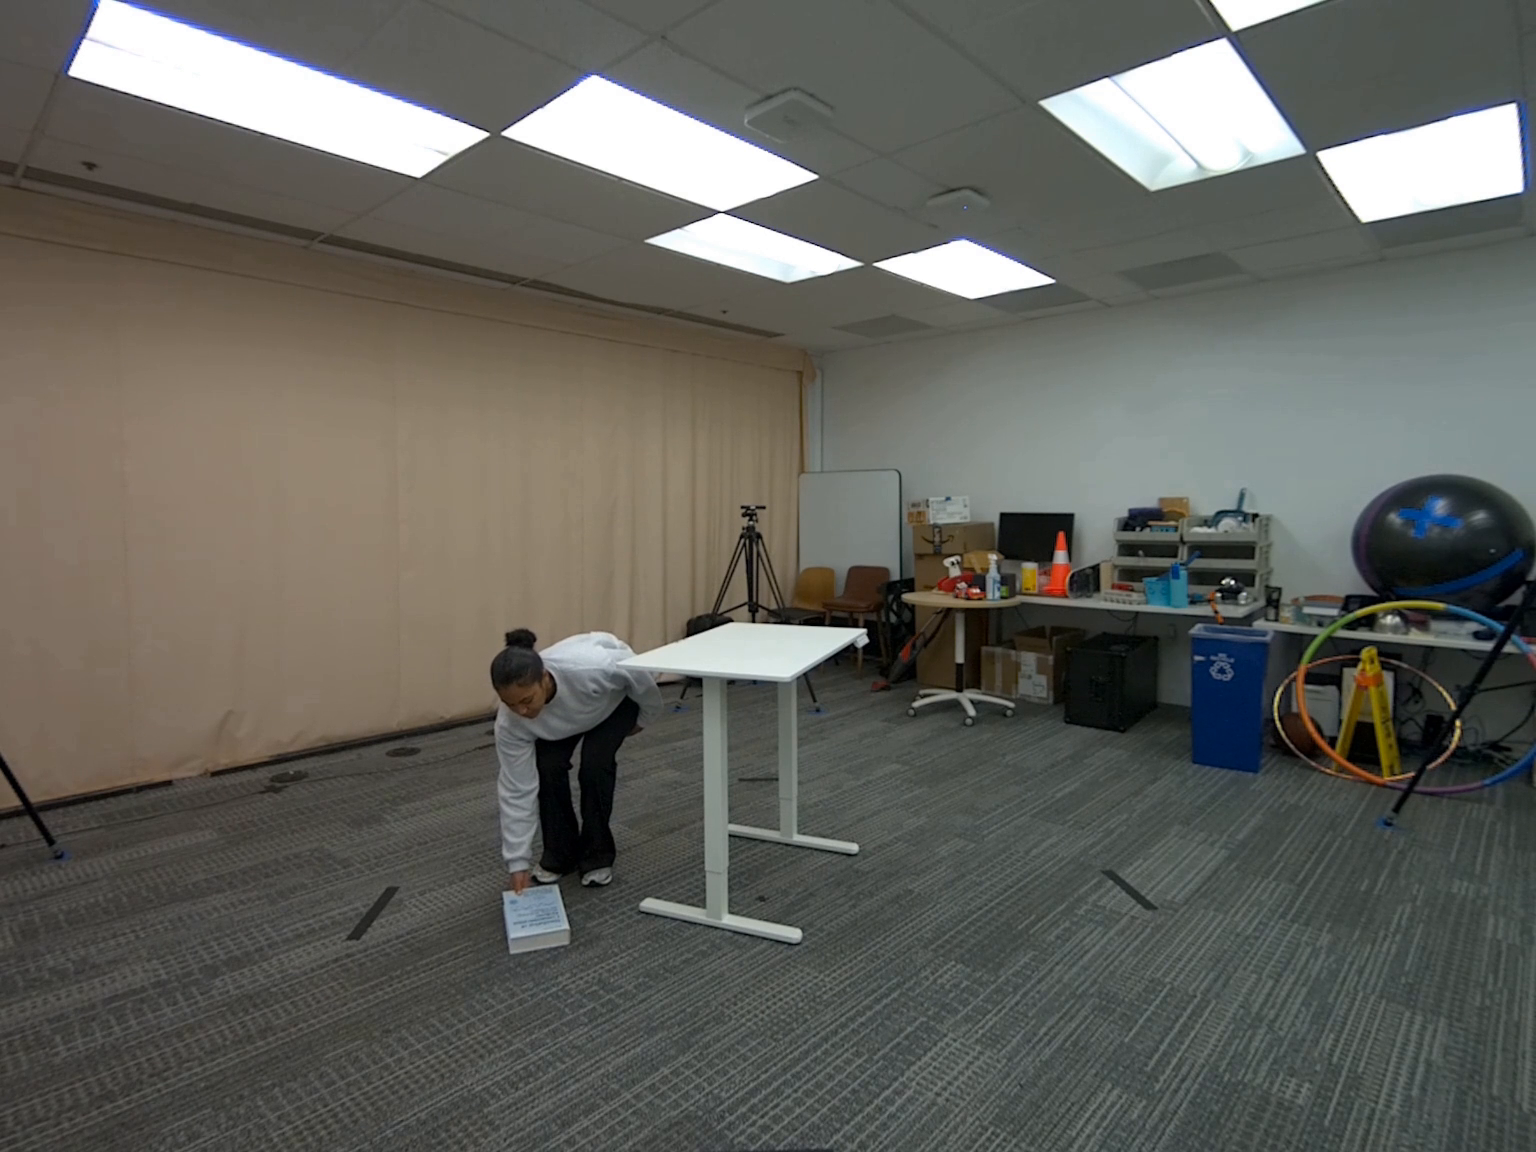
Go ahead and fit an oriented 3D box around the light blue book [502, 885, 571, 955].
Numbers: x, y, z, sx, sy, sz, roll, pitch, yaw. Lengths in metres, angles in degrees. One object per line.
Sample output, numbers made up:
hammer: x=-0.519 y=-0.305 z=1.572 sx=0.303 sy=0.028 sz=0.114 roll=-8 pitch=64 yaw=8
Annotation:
light blue book: x=-0.758 y=1.113 z=2.771 sx=0.188 sy=0.058 sz=0.267 roll=-2 pitch=11 yaw=-20
